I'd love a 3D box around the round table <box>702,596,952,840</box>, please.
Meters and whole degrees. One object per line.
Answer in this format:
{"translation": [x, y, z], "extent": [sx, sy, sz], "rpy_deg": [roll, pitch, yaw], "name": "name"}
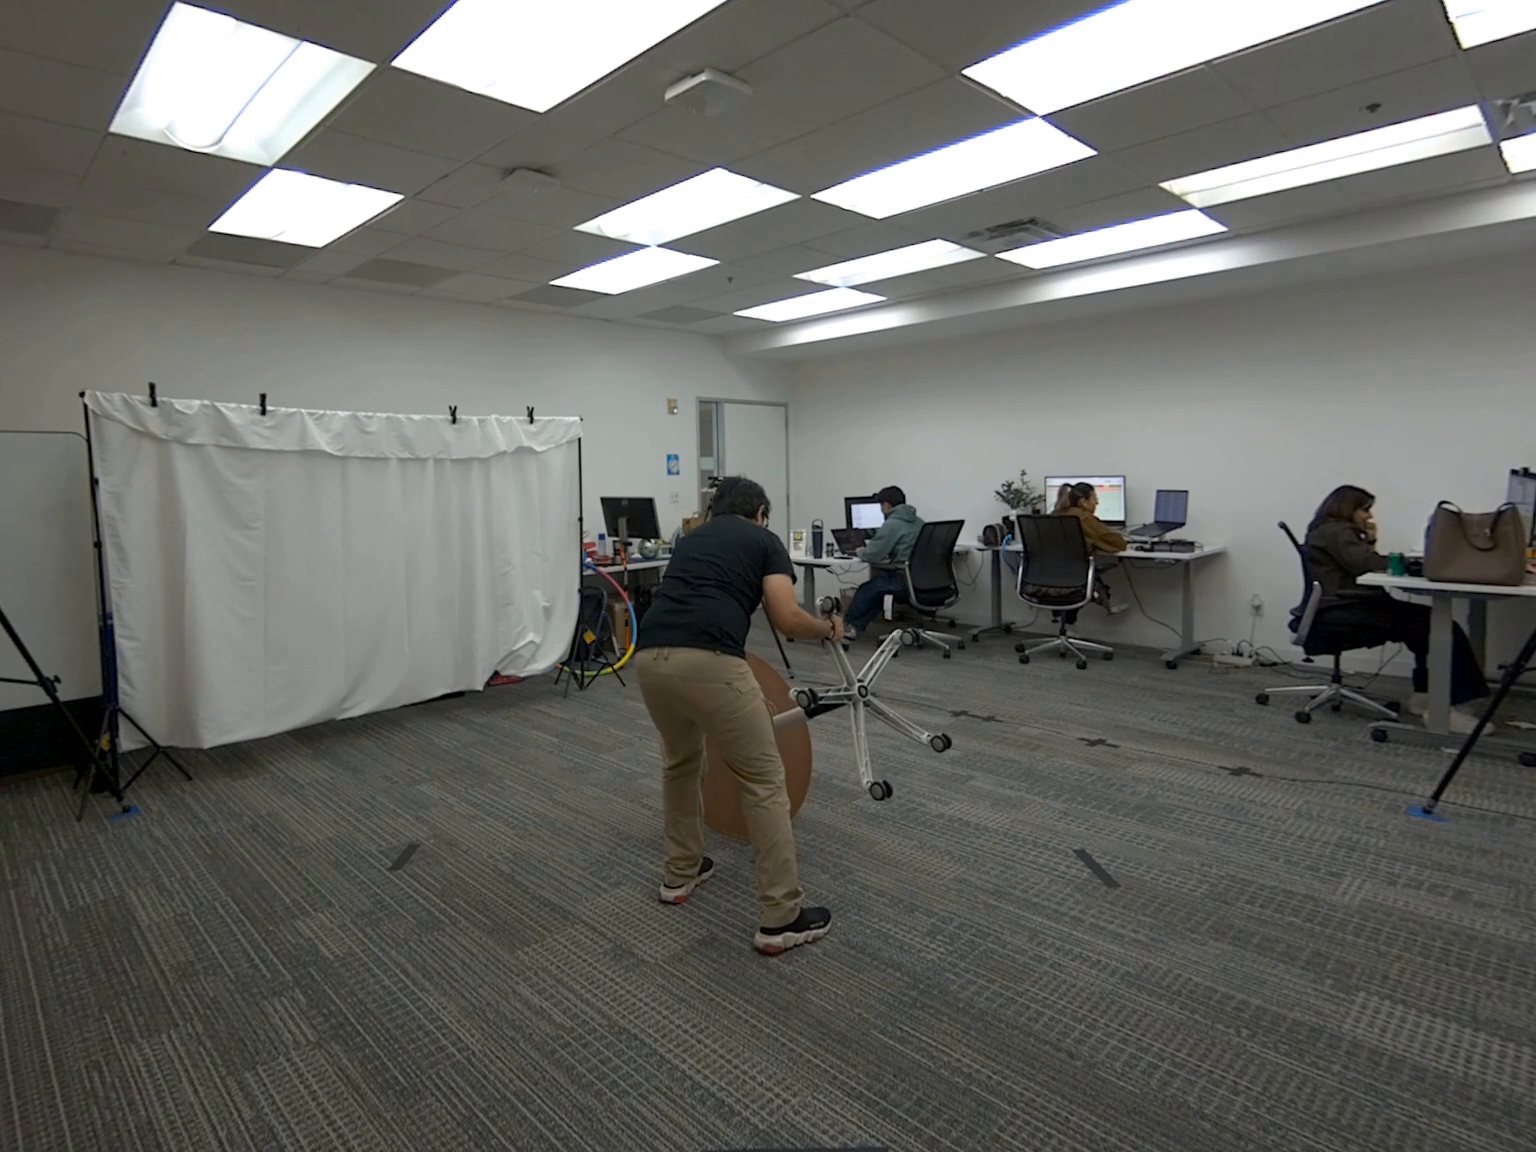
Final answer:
{"translation": [0.139, 0.512, 3.173], "extent": [0.764, 0.798, 0.795], "rpy_deg": [-6, -18, -45], "name": "round table"}
